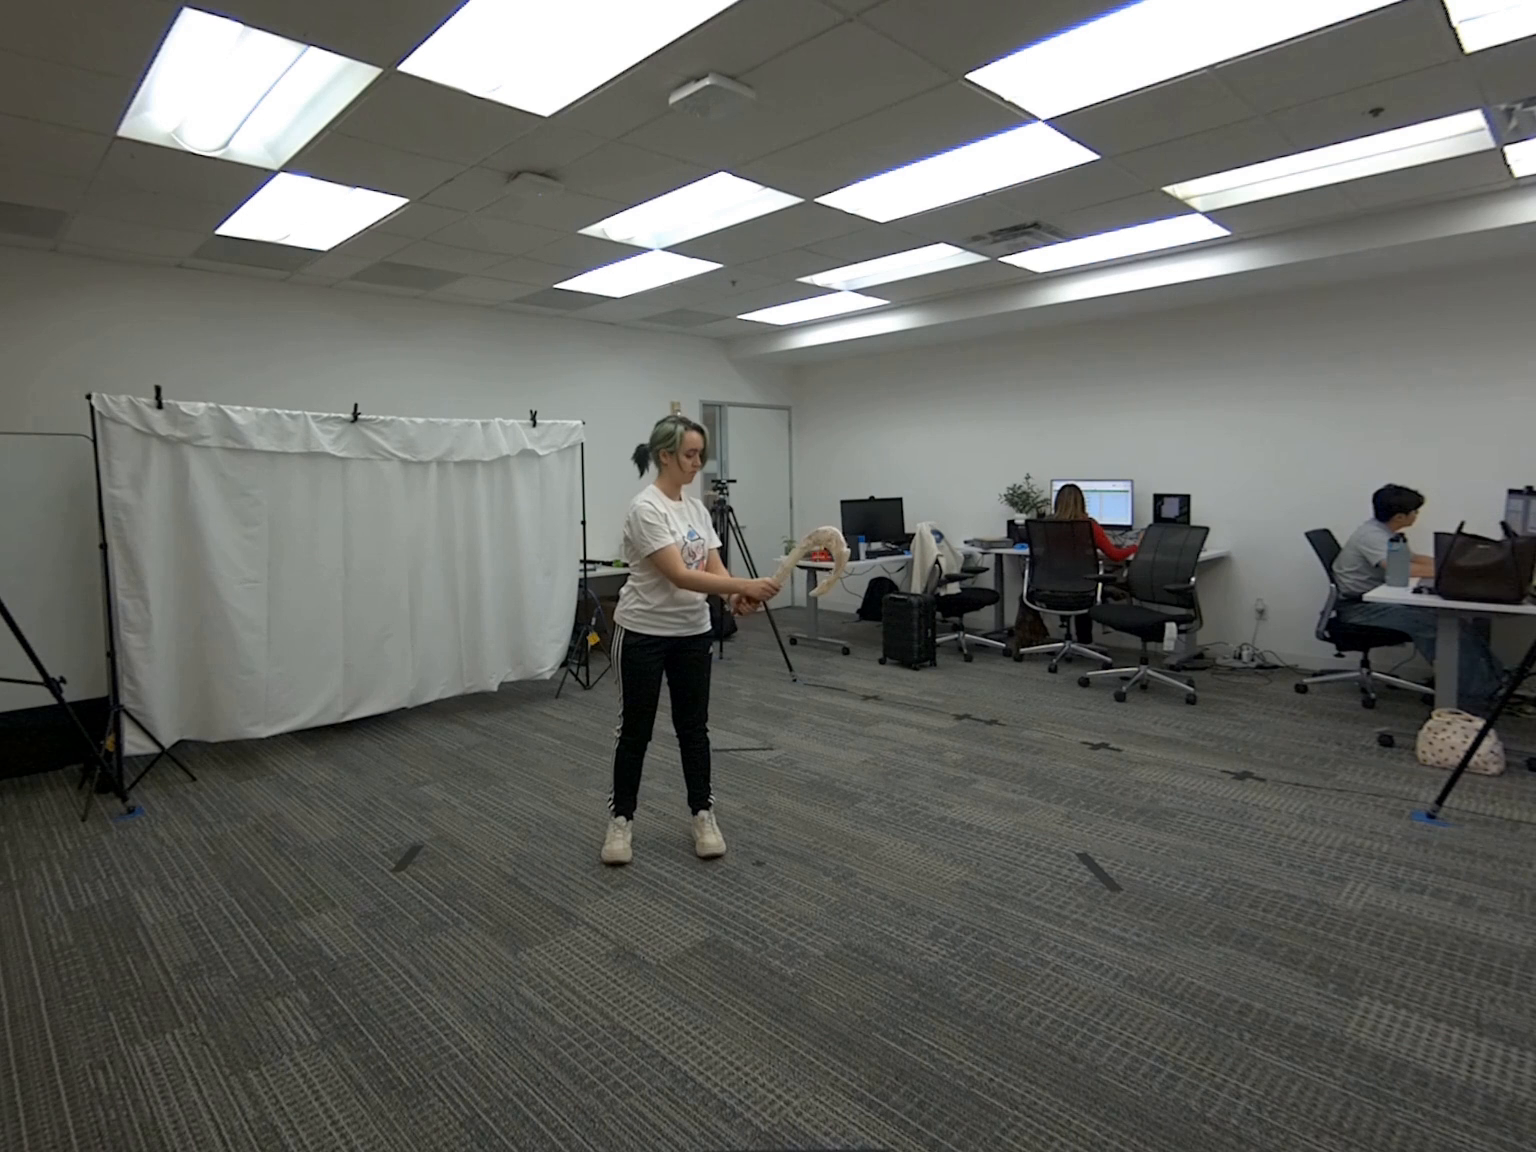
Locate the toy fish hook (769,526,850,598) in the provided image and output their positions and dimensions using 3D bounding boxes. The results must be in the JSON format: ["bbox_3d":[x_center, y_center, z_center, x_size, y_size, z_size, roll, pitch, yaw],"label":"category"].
[{"bbox_3d":[0.080,0.038,2.889,0.508,0.232,0.046,-40,-43,25],"label":"toy fish hook"}]
